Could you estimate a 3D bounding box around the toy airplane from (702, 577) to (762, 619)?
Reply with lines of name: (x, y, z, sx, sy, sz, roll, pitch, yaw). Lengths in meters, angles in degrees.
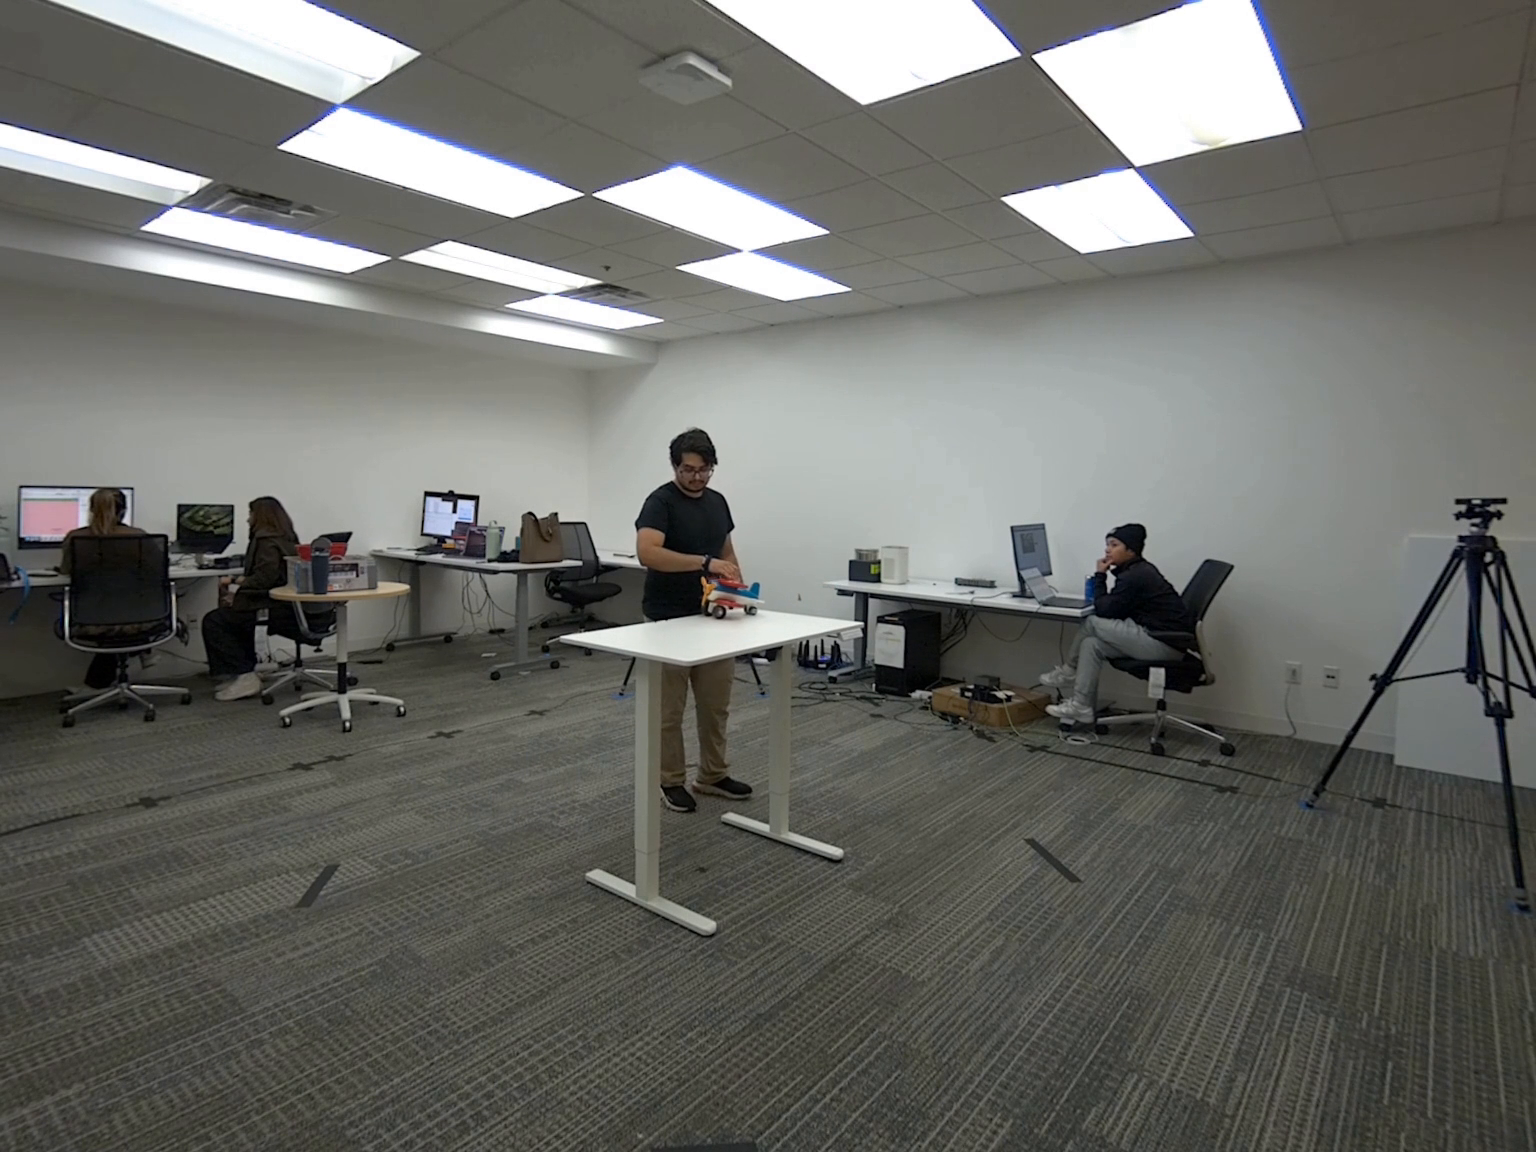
toy airplane: (-0.166, 0.078, 3.417, 0.258, 0.155, 0.253, 4, 7, 30)
